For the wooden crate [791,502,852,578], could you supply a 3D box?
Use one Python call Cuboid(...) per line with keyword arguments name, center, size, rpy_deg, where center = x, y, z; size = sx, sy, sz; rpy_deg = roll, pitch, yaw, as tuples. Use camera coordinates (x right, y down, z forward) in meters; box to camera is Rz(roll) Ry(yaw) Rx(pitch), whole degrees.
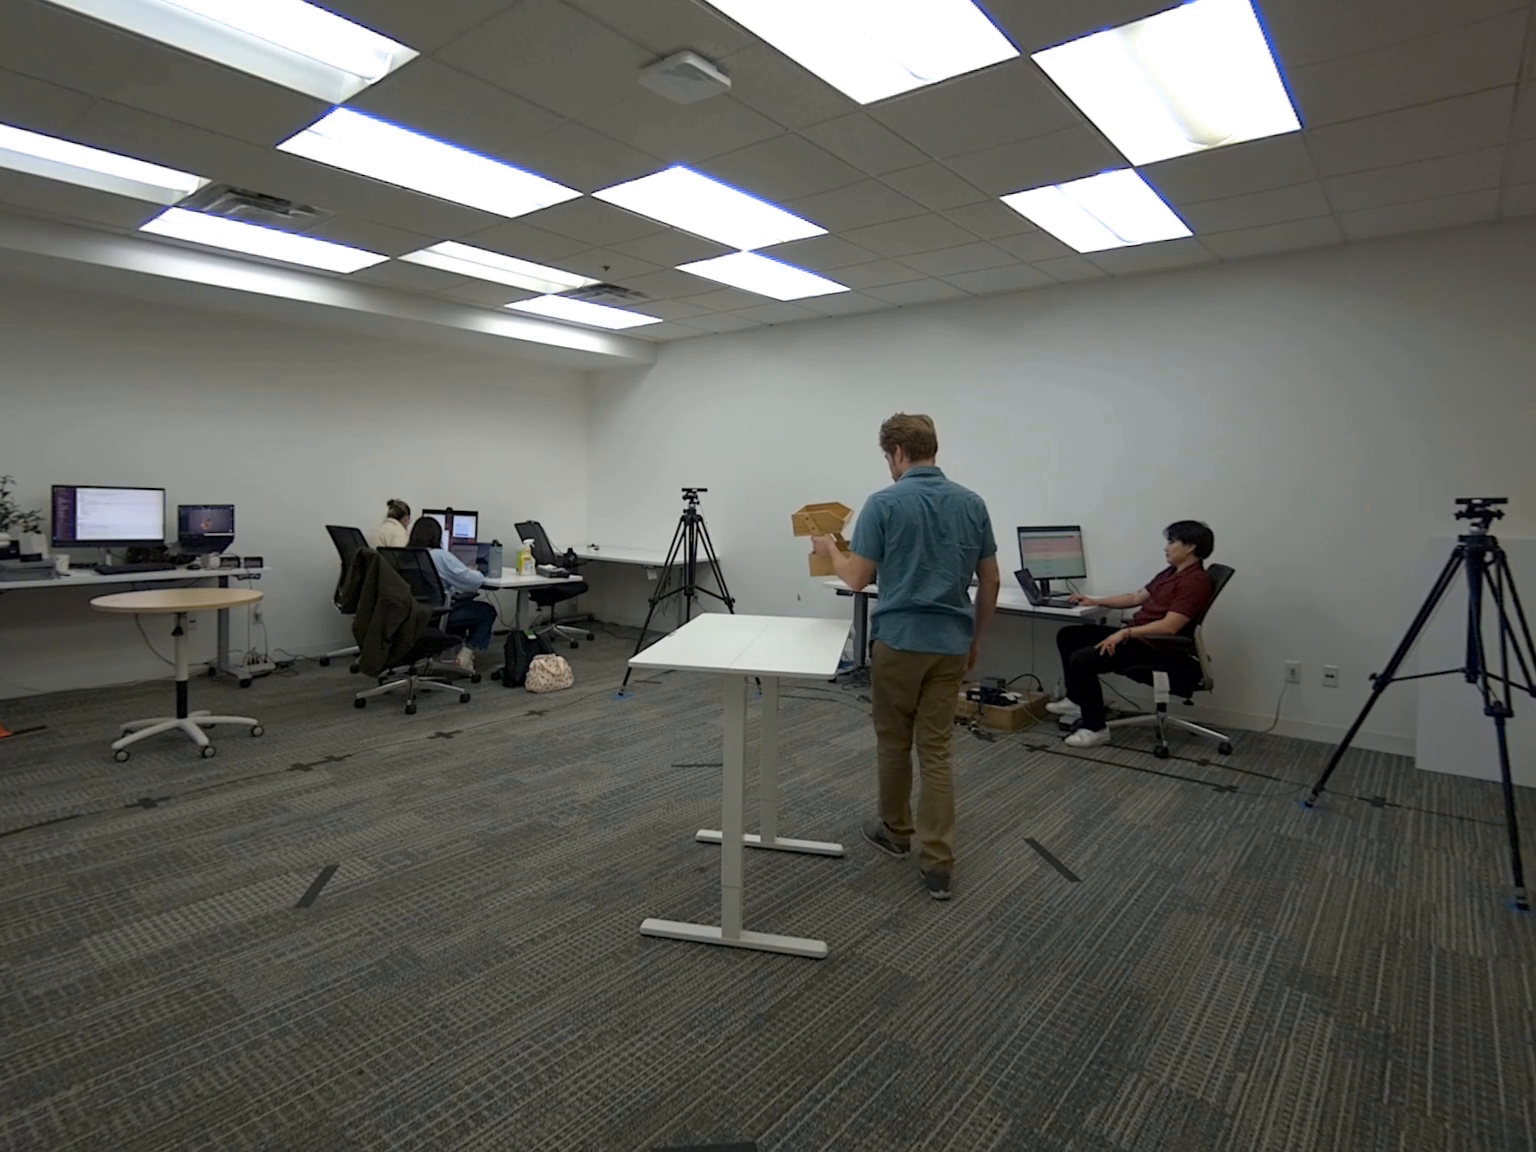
Cuboid(name="wooden crate", center=(0.278, -0.167, 3.518), size=(0.307, 0.271, 0.322), rpy_deg=(-4, 9, 15))
